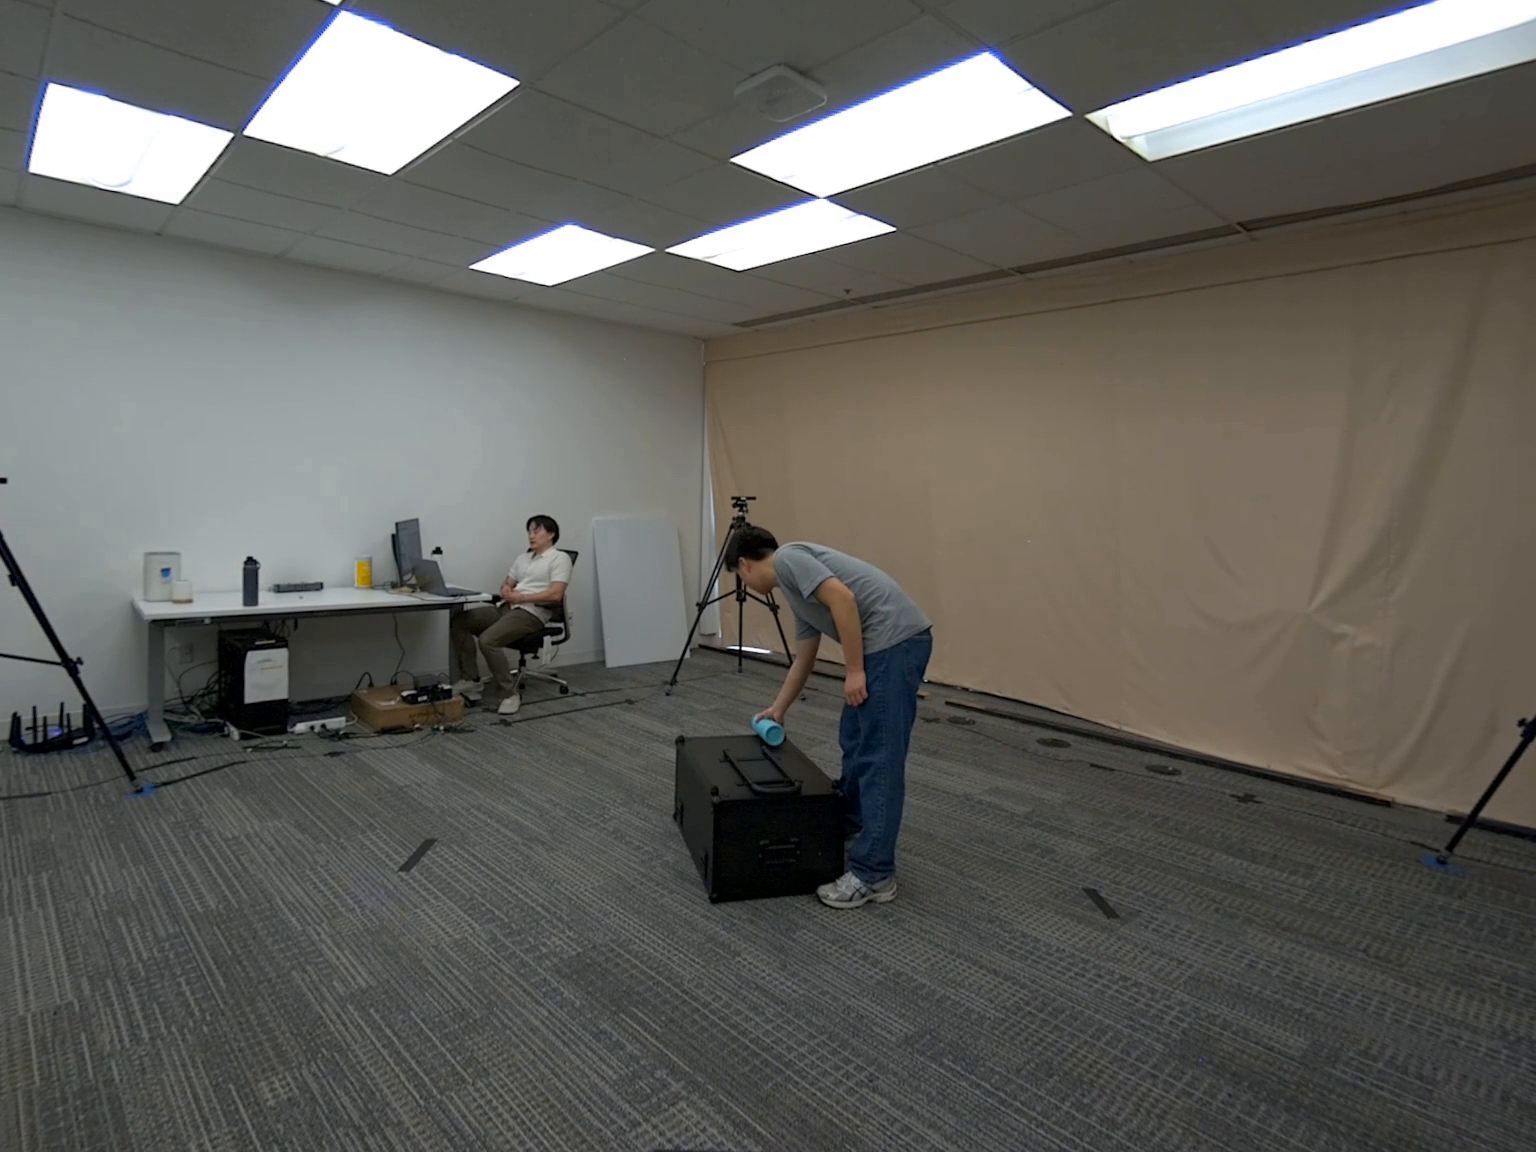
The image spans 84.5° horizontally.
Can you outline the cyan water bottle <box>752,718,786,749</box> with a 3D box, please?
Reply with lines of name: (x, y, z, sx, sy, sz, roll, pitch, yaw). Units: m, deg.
cyan water bottle: (-0.022, 0.652, 3.621, 0.091, 0.092, 0.286, 1, 2, -13)
